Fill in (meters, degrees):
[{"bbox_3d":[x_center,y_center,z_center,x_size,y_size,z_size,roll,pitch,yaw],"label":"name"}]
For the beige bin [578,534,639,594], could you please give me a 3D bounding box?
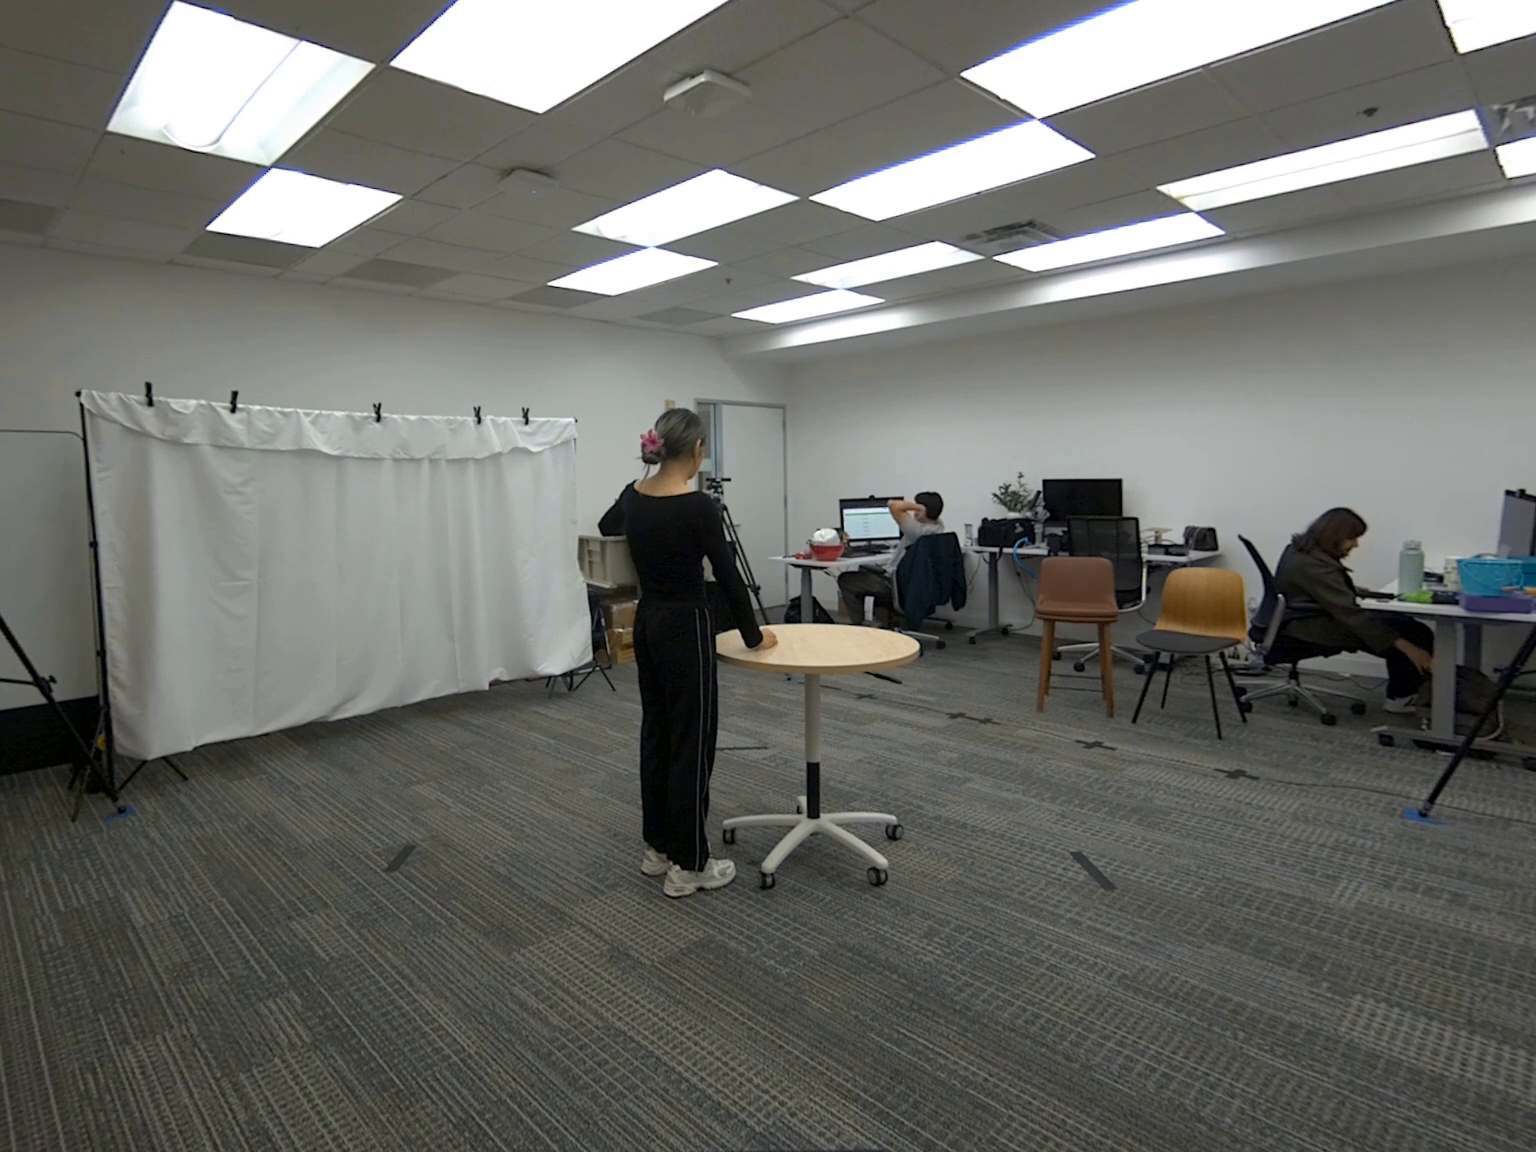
[{"bbox_3d":[-0.462,-0.073,3.210,0.413,0.188,0.387,-4,6,-27],"label":"beige bin"}]
